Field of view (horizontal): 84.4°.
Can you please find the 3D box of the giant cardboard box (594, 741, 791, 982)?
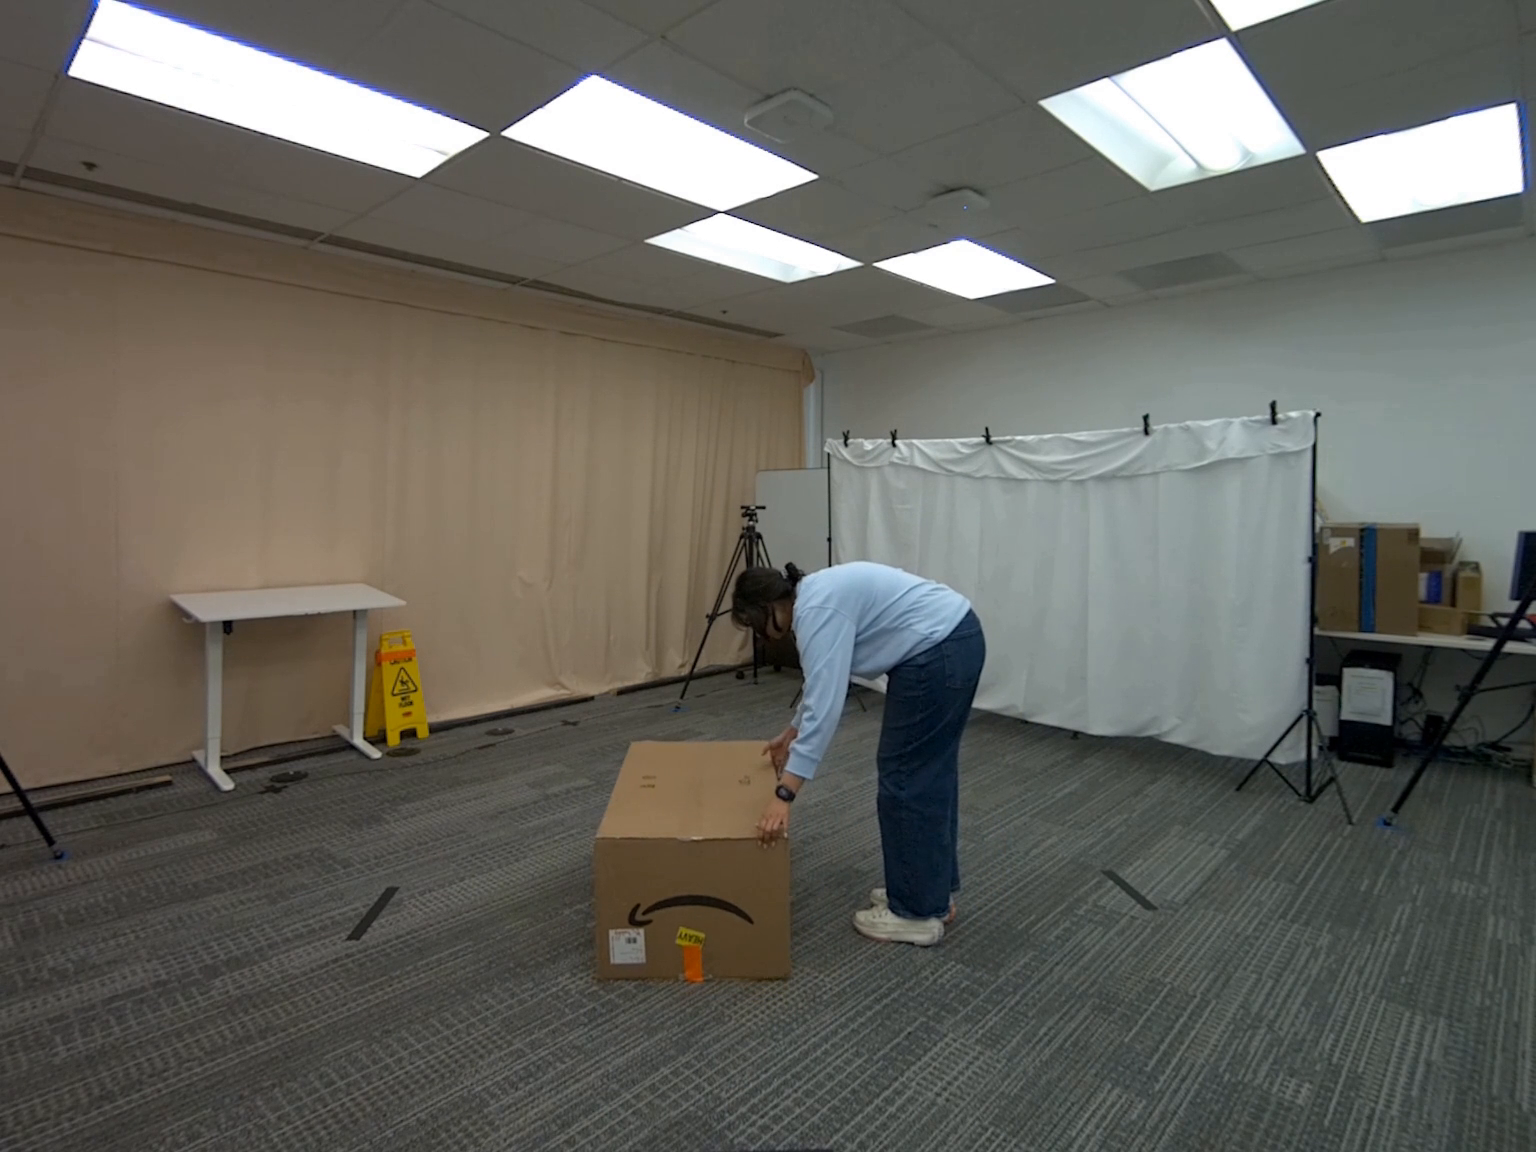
[{"bbox_3d":[-0.247,0.930,2.965,0.577,0.425,1.029,-1,4,-2],"label":"giant cardboard box"}]
